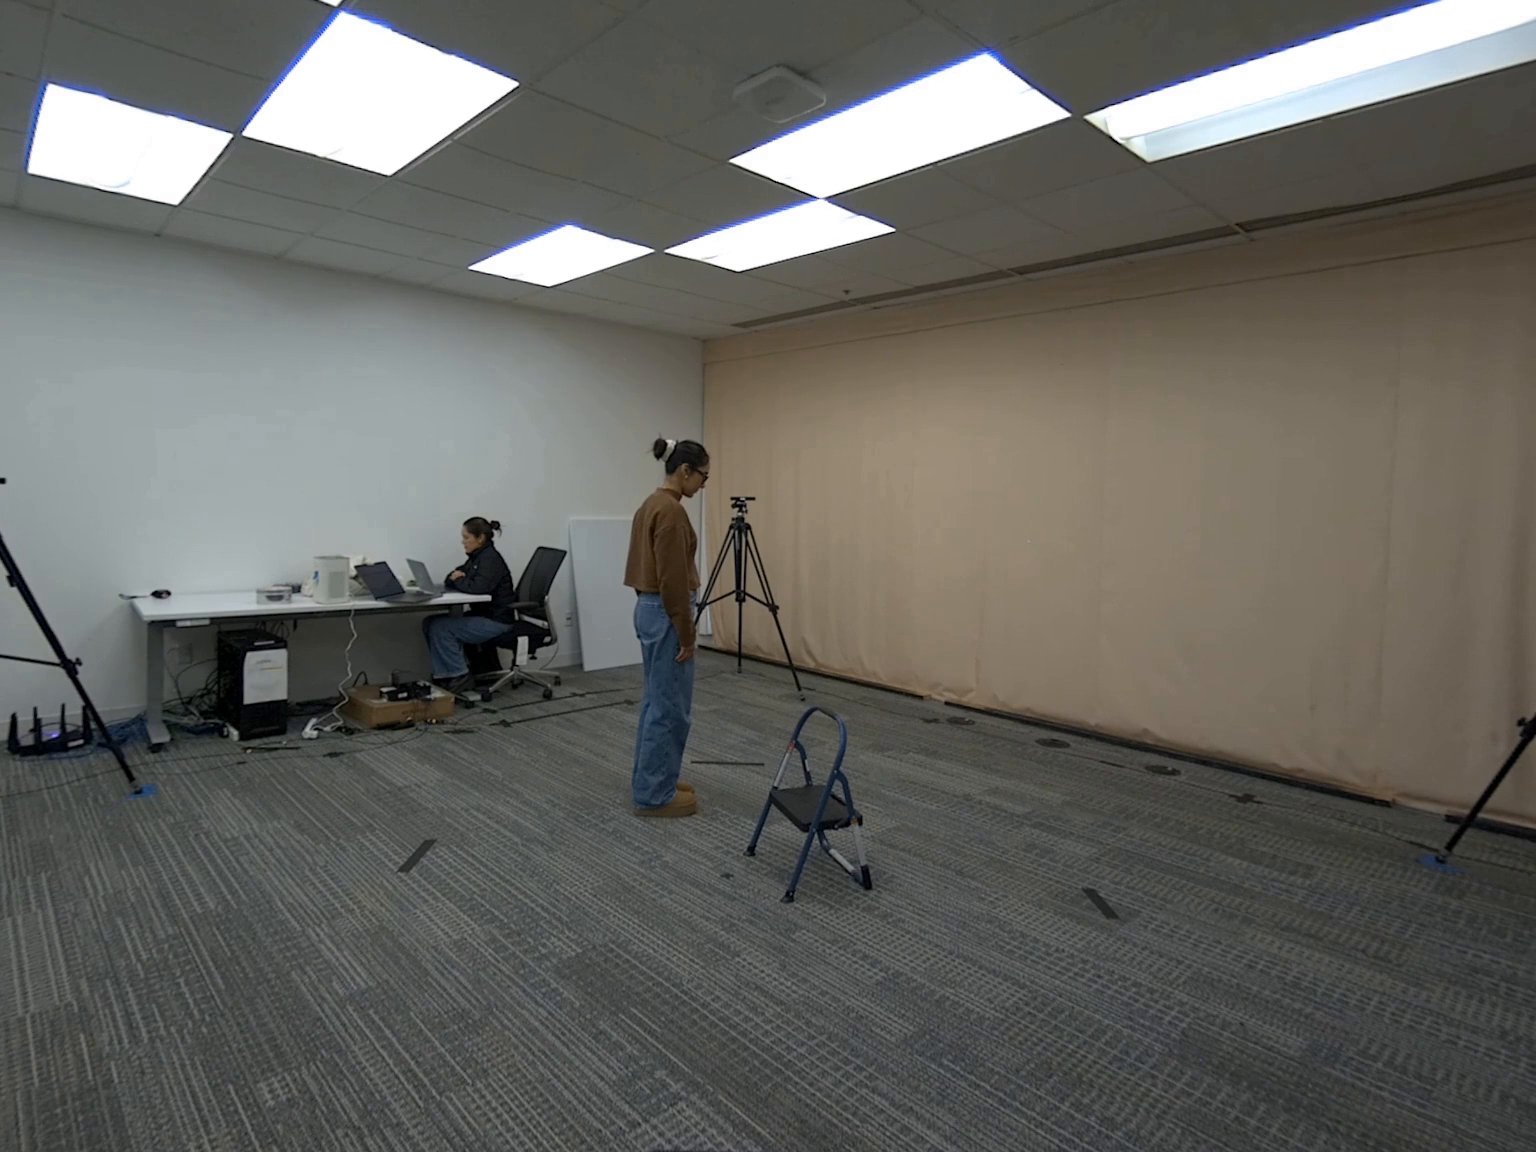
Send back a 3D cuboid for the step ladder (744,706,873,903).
[{"bbox_3d":[0.145,0.809,3.137,0.344,0.605,0.438,0,4,-21],"label":"step ladder"}]
